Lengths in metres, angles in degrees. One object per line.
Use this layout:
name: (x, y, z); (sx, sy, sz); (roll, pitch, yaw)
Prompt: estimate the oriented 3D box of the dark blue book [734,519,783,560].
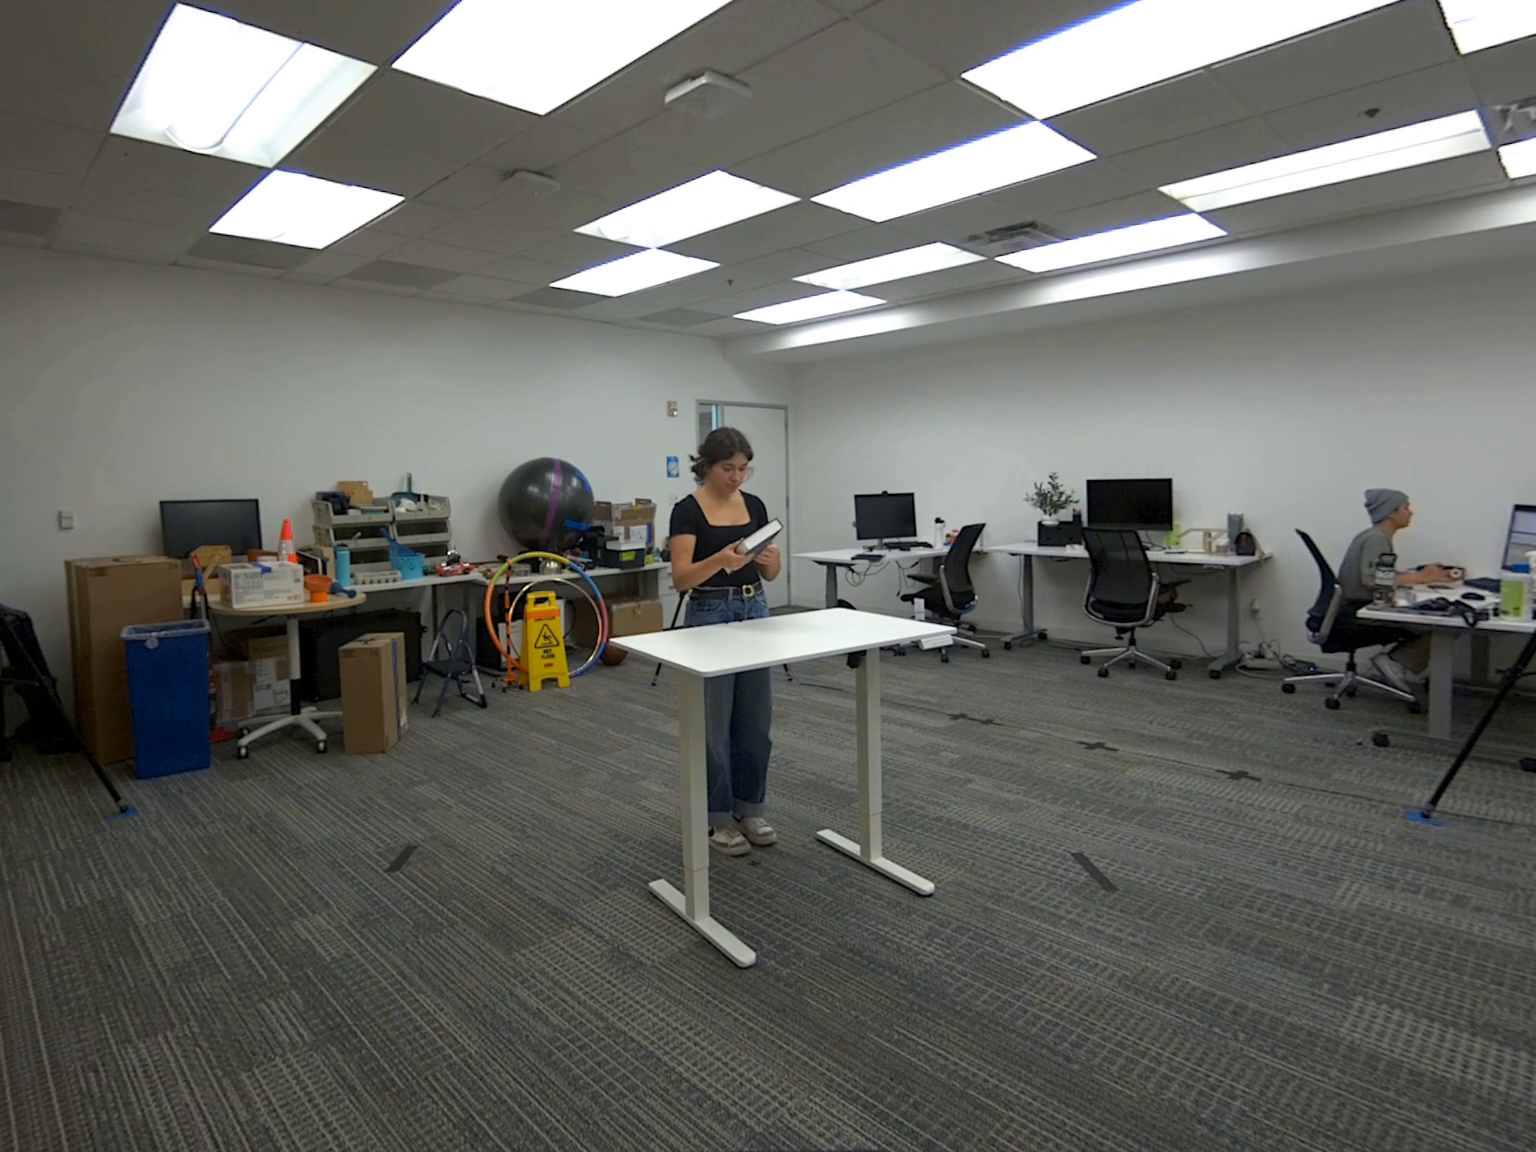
dark blue book: (-0.069, -0.096, 2.957); (0.162, 0.045, 0.245); (-36, -4, -26)
